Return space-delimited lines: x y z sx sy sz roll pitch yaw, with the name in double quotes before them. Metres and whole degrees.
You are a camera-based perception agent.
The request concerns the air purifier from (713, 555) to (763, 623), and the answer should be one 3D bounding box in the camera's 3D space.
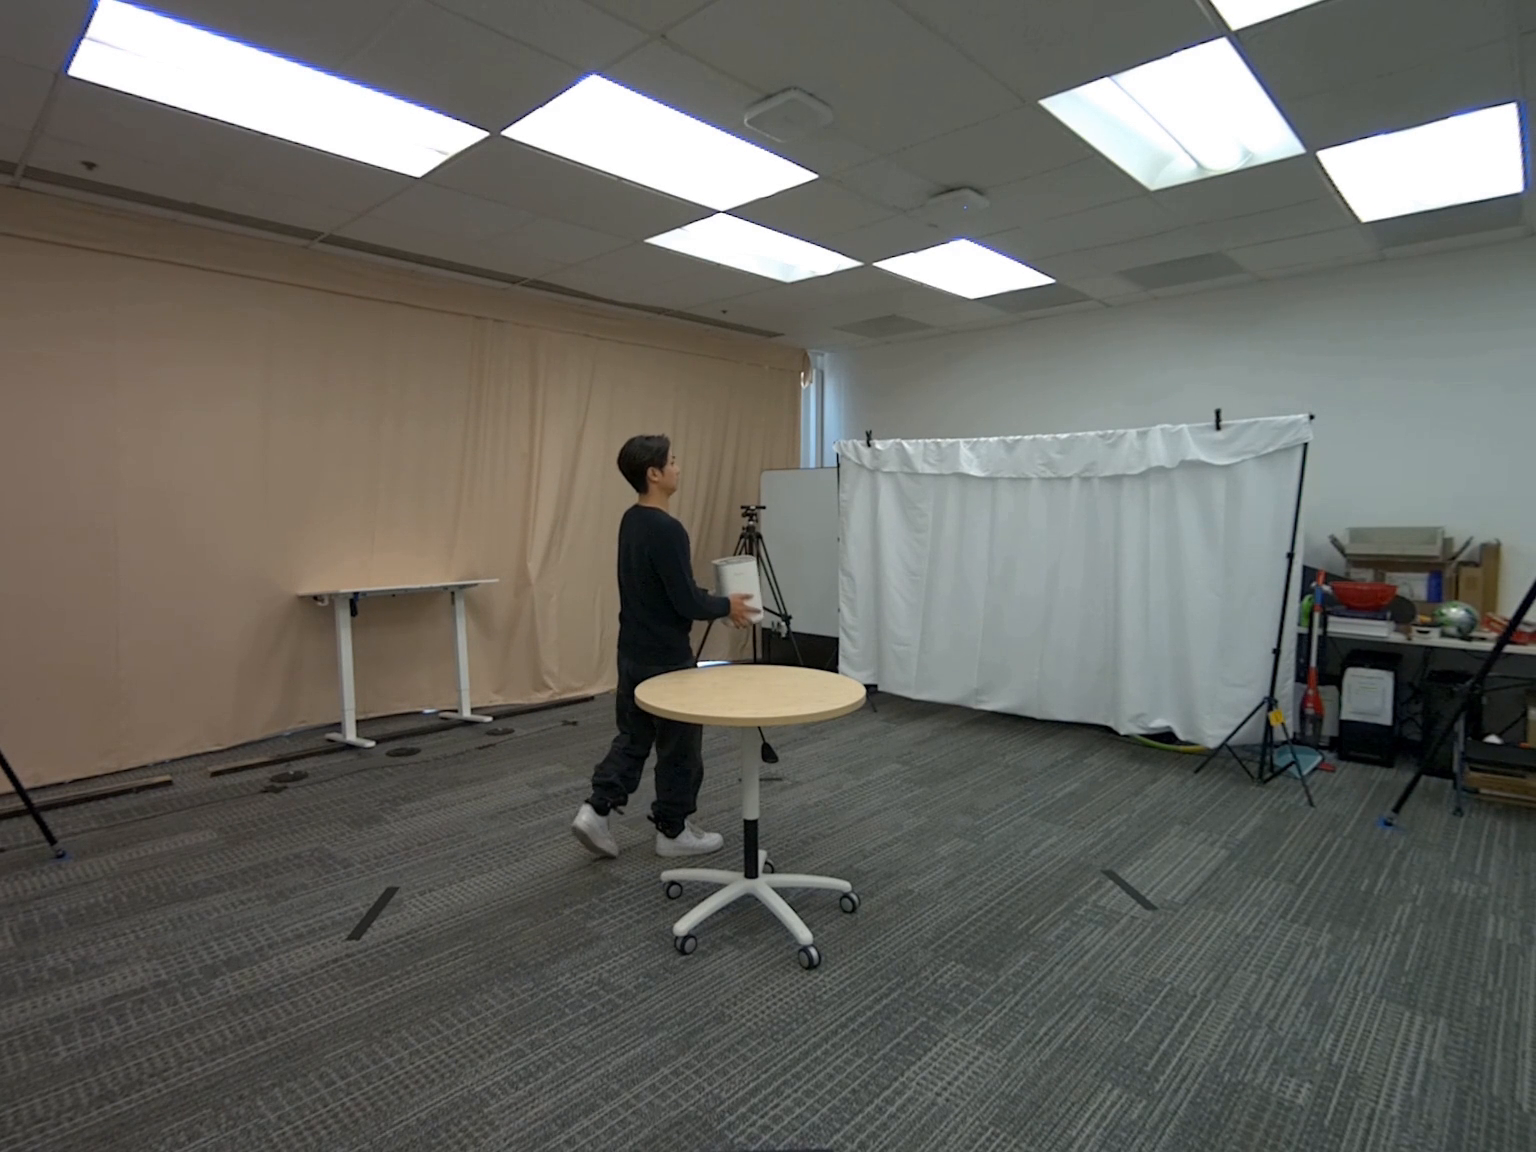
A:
"air purifier" -0.129 0.062 3.432 0.169 0.264 0.175 -9 9 -13
